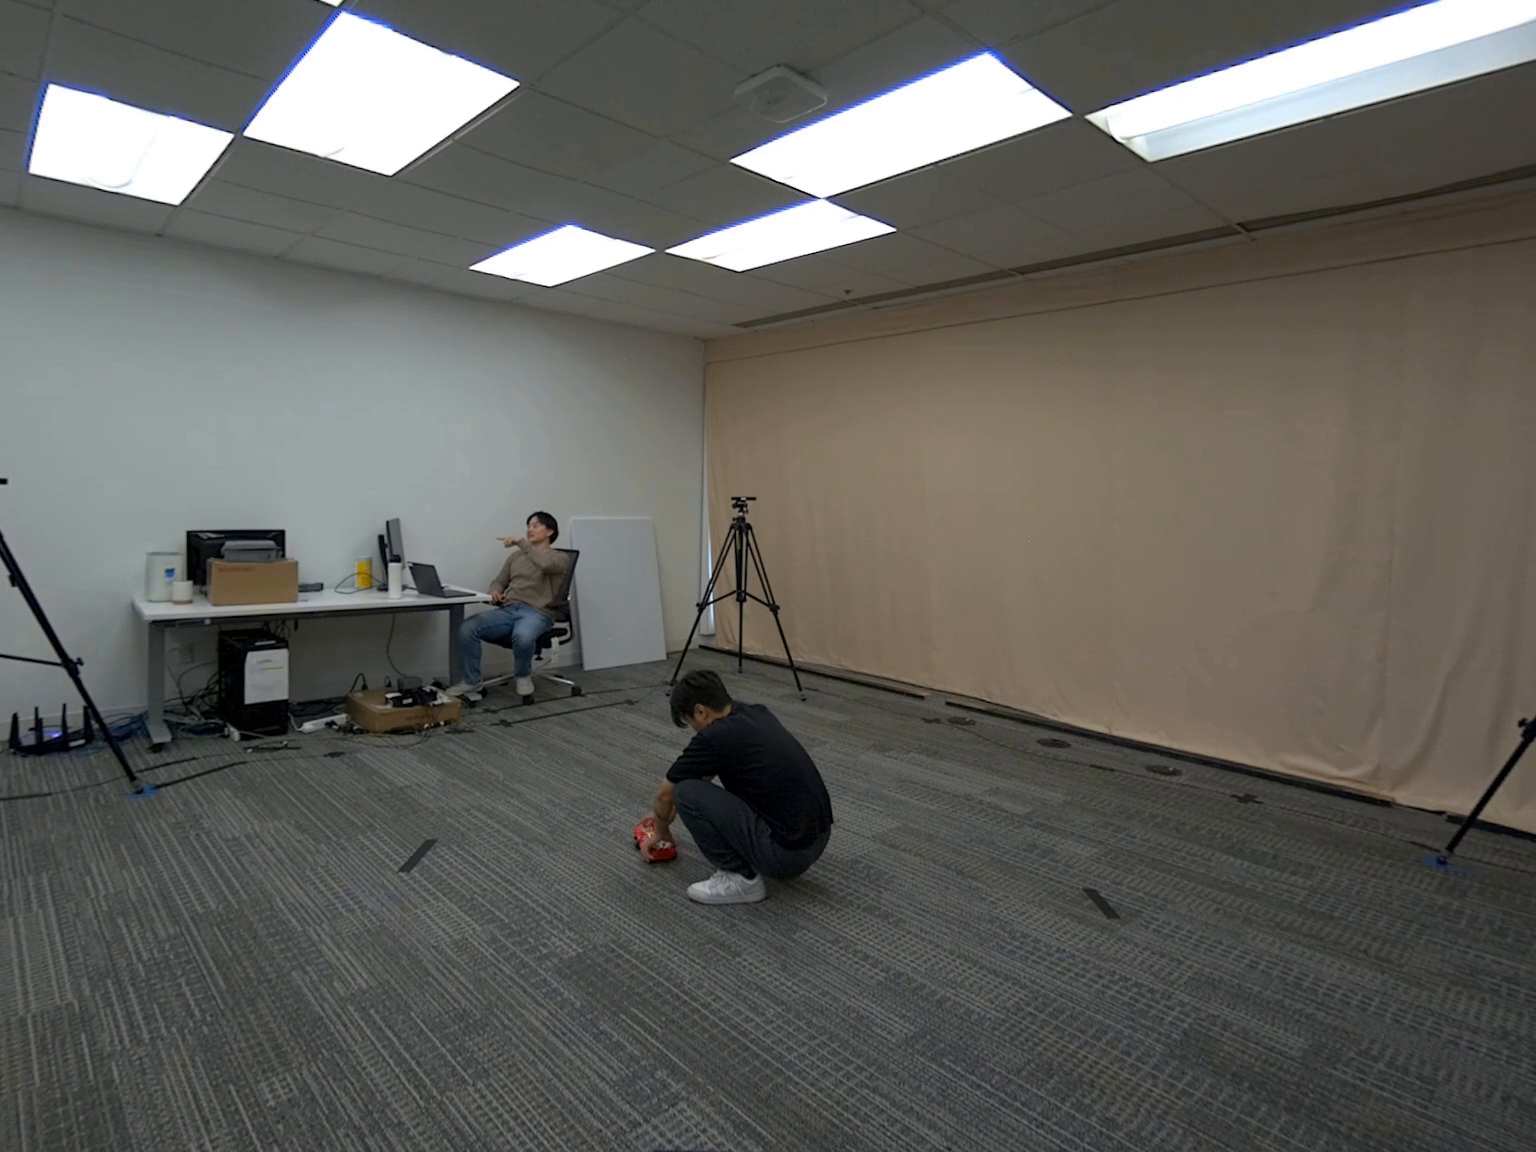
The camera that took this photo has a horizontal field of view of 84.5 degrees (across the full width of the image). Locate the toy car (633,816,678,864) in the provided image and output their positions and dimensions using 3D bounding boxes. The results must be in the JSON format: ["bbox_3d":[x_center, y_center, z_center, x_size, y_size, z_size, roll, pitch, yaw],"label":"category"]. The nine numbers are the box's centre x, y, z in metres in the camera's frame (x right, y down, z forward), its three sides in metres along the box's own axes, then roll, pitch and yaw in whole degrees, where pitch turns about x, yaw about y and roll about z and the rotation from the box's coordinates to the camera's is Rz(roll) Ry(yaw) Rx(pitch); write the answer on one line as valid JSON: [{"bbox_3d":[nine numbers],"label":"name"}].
[{"bbox_3d":[-0.449,1.044,3.312,0.128,0.082,0.262,-4,19,-26],"label":"toy car"}]
